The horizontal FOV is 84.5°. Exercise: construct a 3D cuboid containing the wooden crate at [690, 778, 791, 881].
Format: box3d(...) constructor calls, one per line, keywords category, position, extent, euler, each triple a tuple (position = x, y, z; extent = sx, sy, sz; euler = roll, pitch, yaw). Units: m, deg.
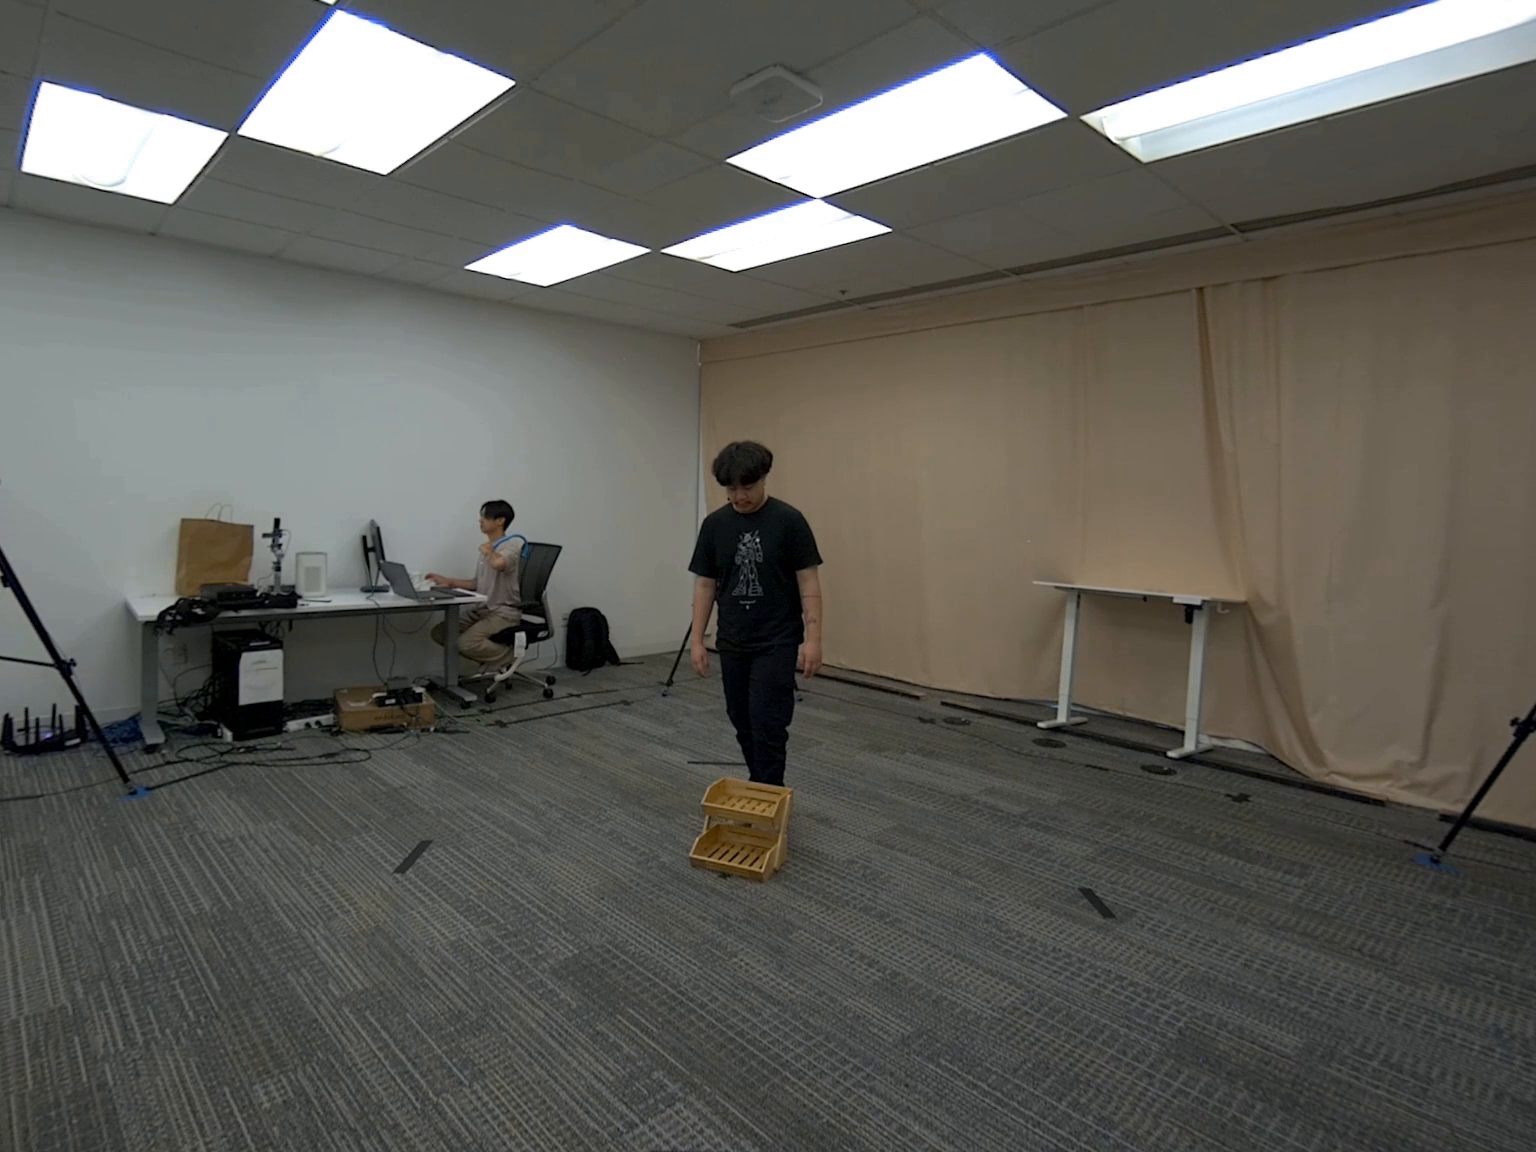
box3d(category="wooden crate", position=(-0.110, 0.963, 3.228), extent=(0.330, 0.273, 0.297), euler=(3, 4, 23))
